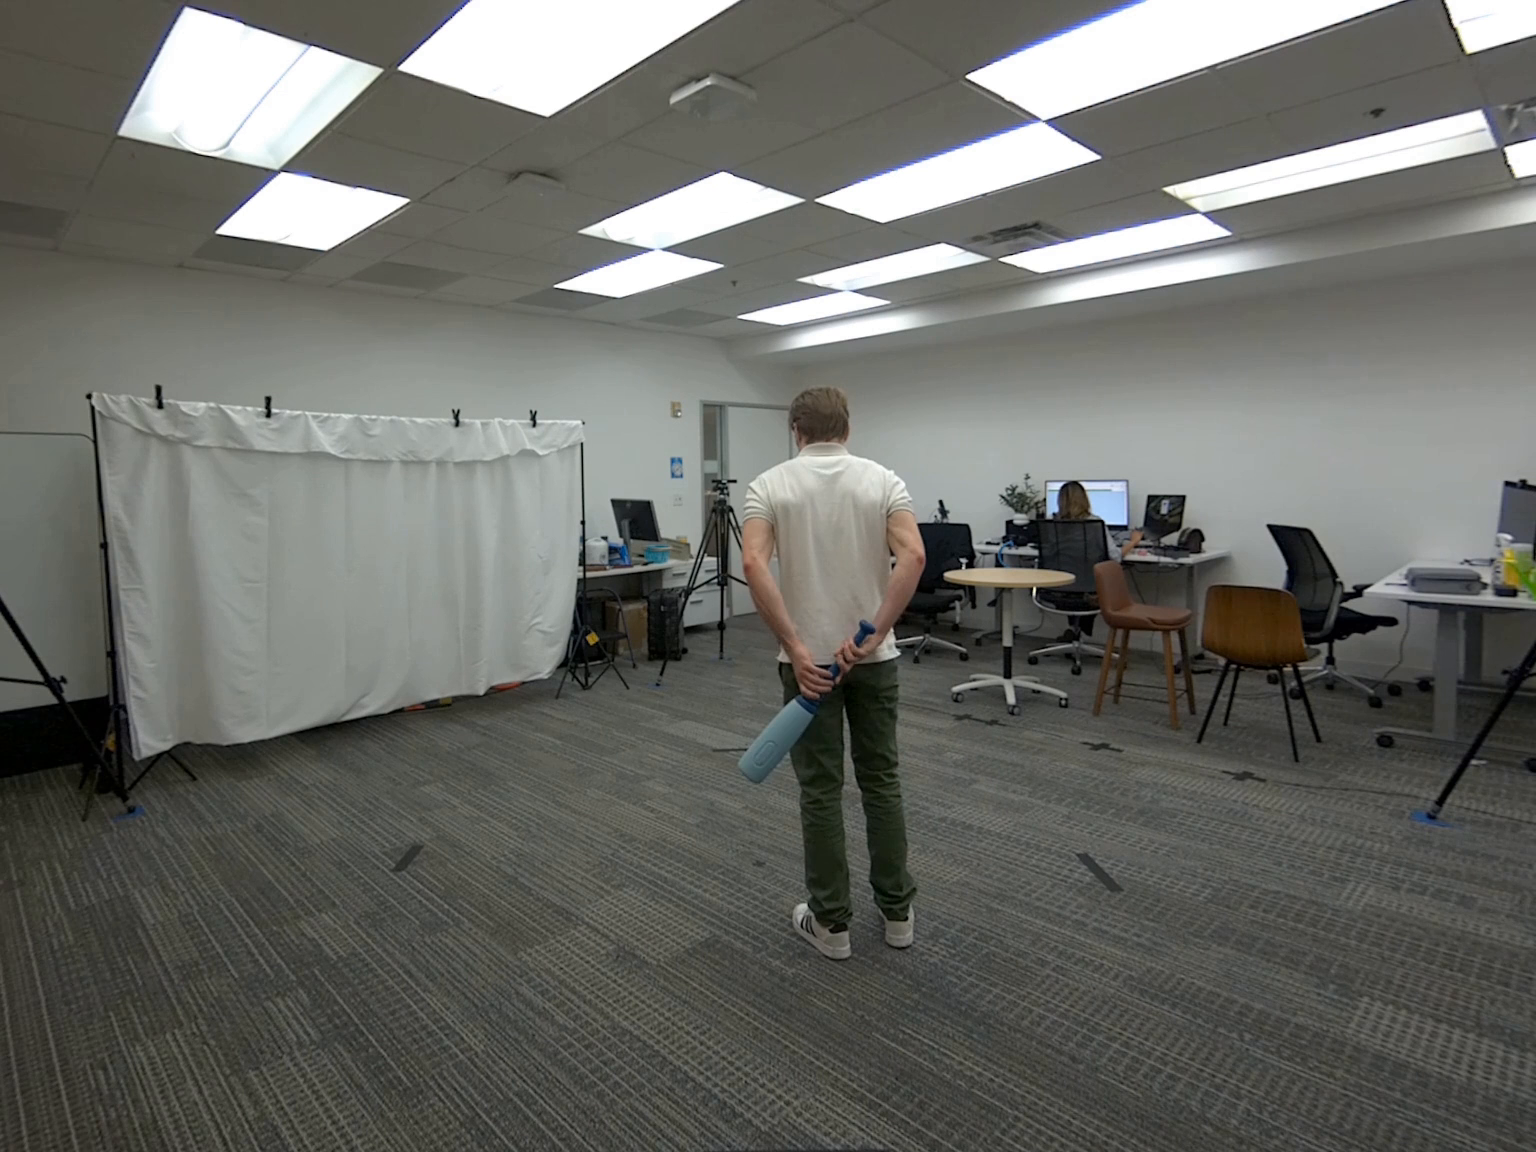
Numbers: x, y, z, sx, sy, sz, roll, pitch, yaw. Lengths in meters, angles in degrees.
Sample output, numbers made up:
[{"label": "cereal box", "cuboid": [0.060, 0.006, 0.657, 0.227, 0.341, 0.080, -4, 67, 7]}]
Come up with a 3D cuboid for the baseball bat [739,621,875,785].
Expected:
[{"label": "baseball bat", "cuboid": [0.109, 0.351, 2.345, 0.089, 0.543, 0.089, 36, 3, -5]}]
